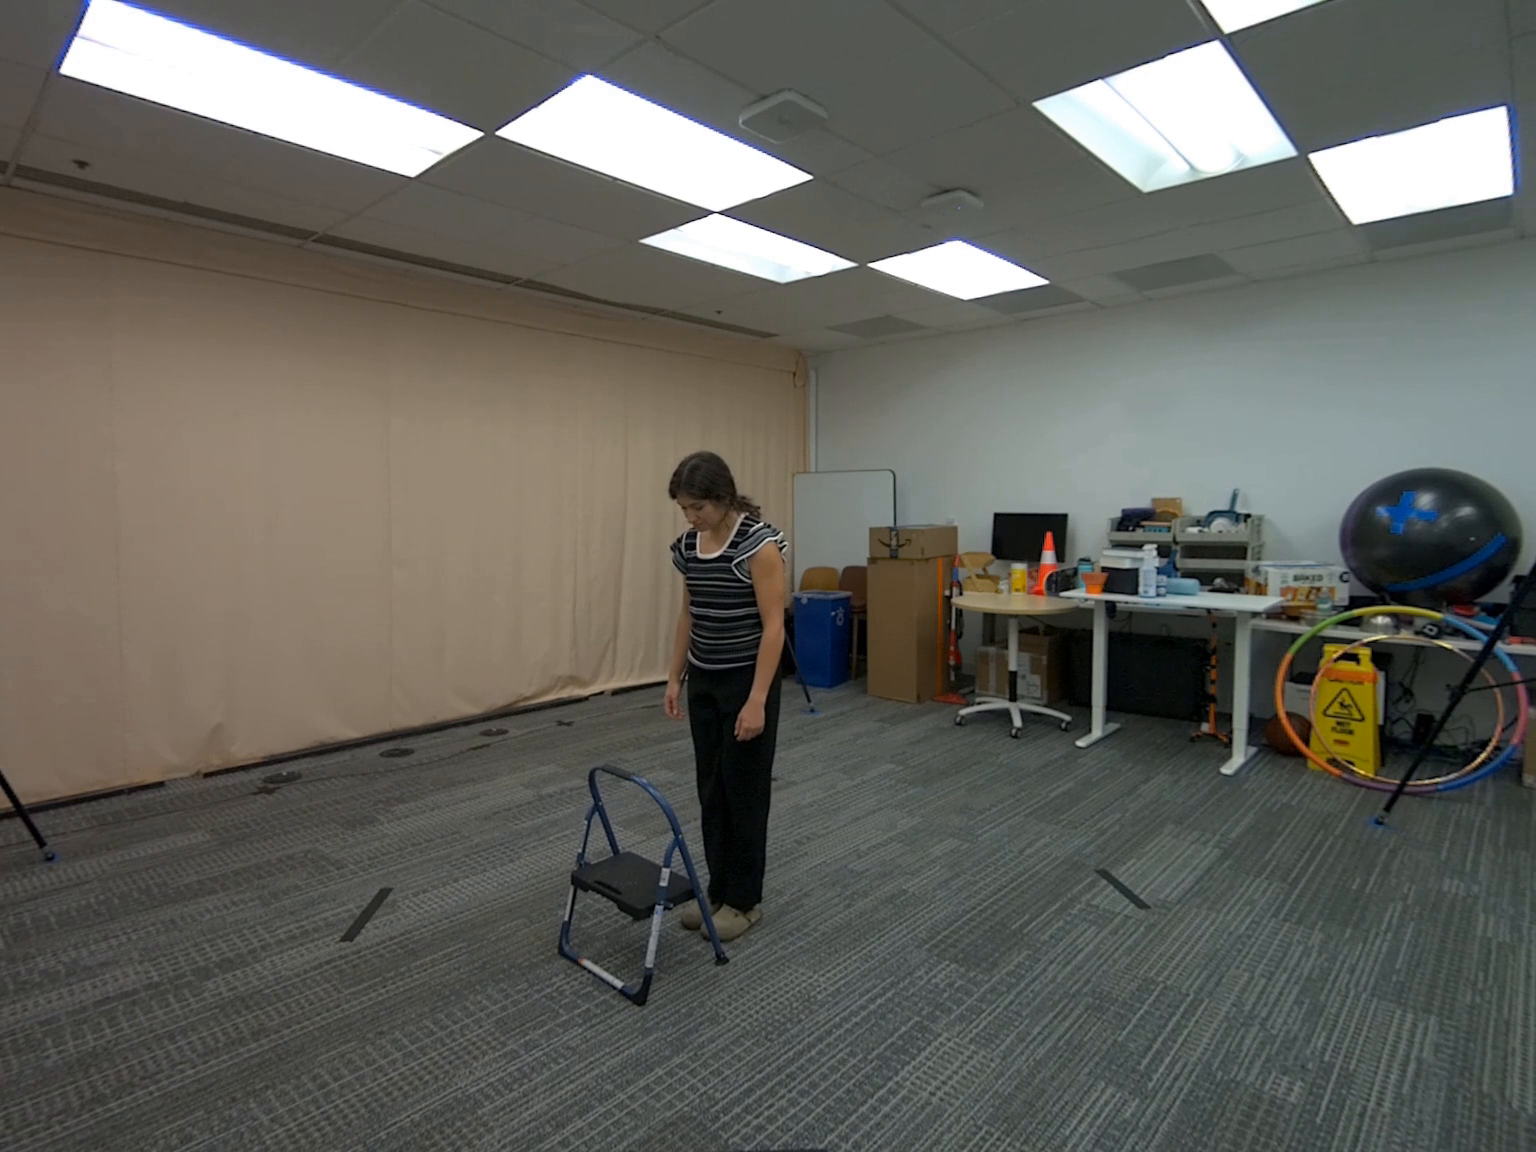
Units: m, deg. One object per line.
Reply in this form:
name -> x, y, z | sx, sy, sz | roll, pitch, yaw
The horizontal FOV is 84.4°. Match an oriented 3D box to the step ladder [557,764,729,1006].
step ladder -> -0.389, 0.878, 2.590 | 0.445, 0.605, 0.338 | 3, 4, 43
